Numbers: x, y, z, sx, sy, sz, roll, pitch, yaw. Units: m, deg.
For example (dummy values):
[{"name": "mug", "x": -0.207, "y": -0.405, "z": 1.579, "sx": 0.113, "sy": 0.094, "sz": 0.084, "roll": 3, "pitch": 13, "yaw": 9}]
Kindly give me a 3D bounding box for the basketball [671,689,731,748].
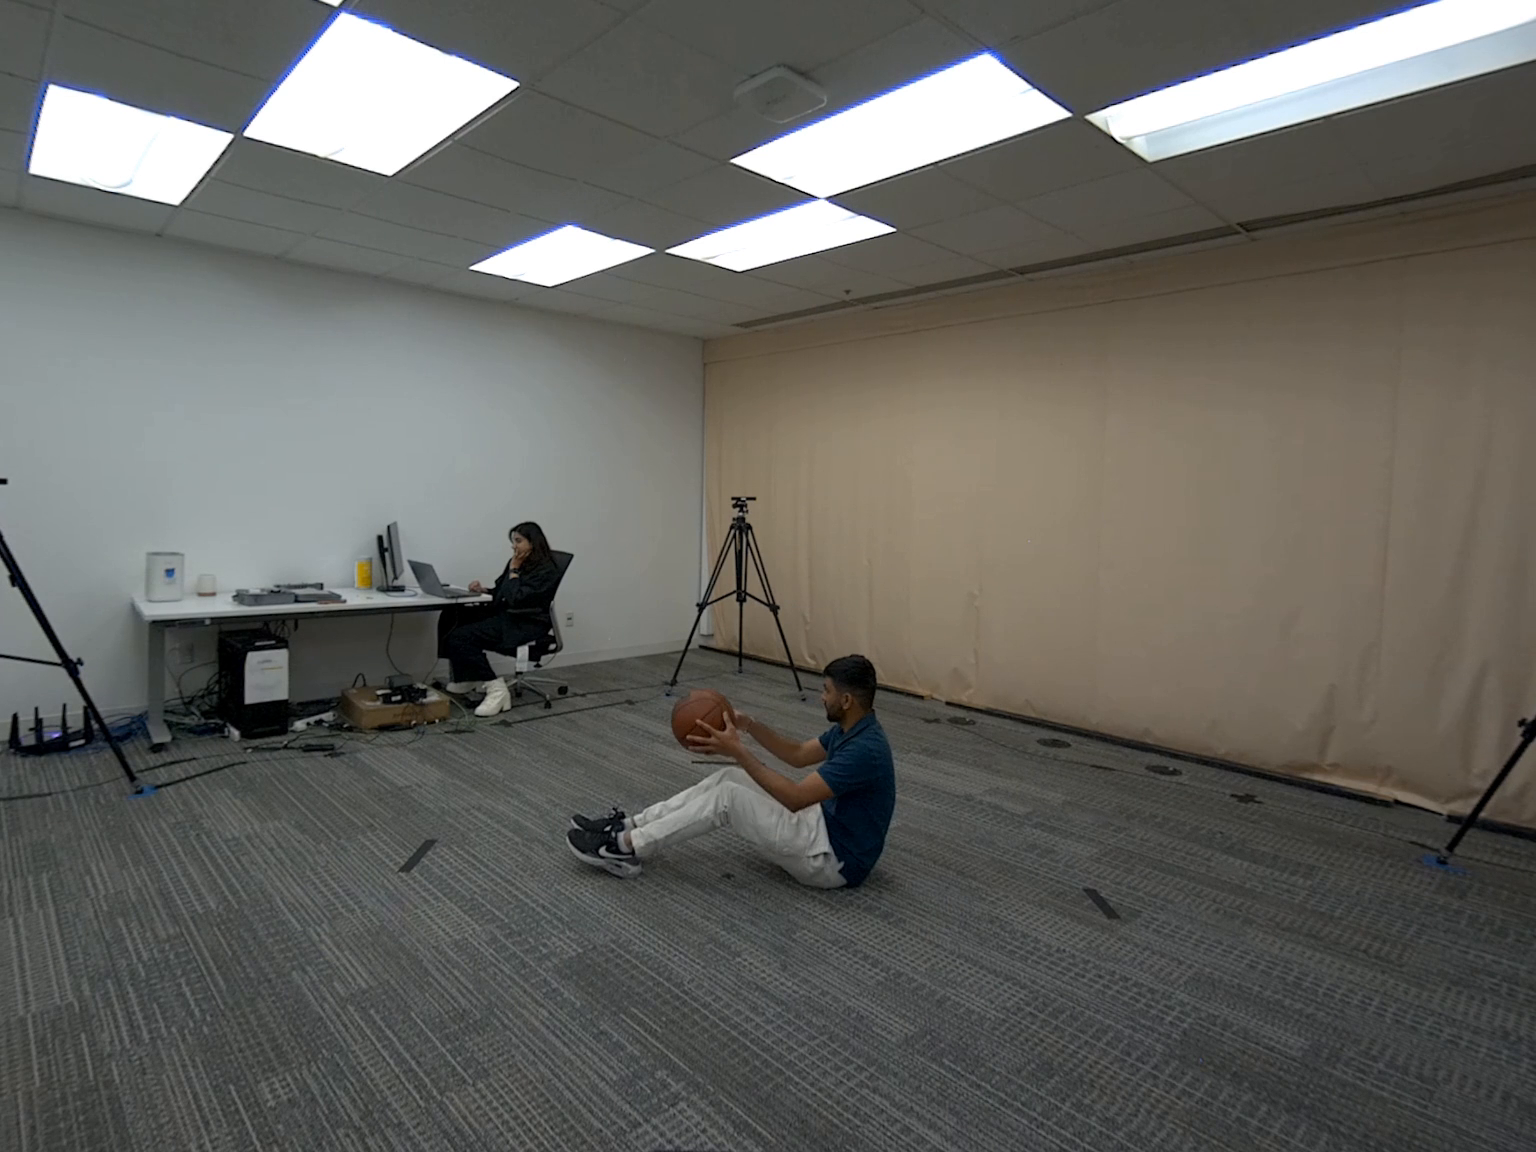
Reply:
[{"name": "basketball", "x": -0.233, "y": 0.542, "z": 3.114, "sx": 0.236, "sy": 0.235, "sz": 0.237, "roll": 1, "pitch": 4, "yaw": -1}]
